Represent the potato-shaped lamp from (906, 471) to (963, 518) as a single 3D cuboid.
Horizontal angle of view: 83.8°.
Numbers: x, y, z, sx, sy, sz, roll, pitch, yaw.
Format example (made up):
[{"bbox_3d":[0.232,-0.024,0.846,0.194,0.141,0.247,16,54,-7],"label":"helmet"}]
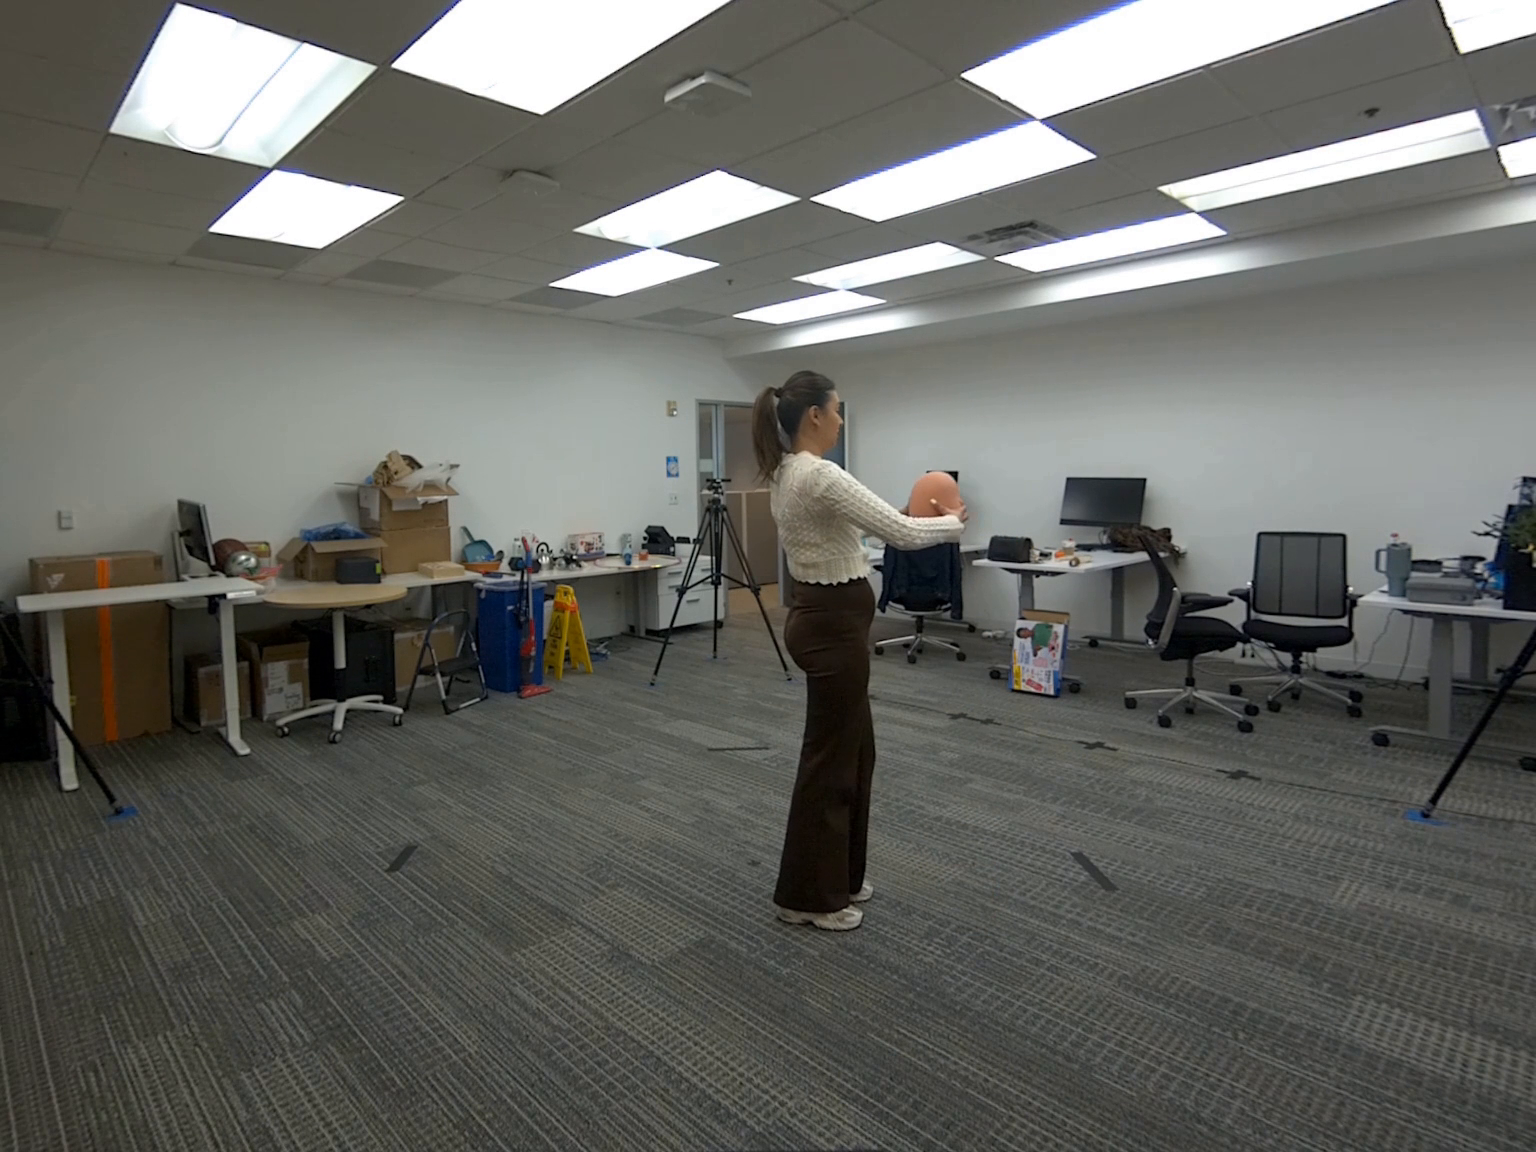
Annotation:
[{"bbox_3d":[0.530,-0.230,2.704,0.168,0.197,0.168,1,7,-19],"label":"potato-shaped lamp"}]
